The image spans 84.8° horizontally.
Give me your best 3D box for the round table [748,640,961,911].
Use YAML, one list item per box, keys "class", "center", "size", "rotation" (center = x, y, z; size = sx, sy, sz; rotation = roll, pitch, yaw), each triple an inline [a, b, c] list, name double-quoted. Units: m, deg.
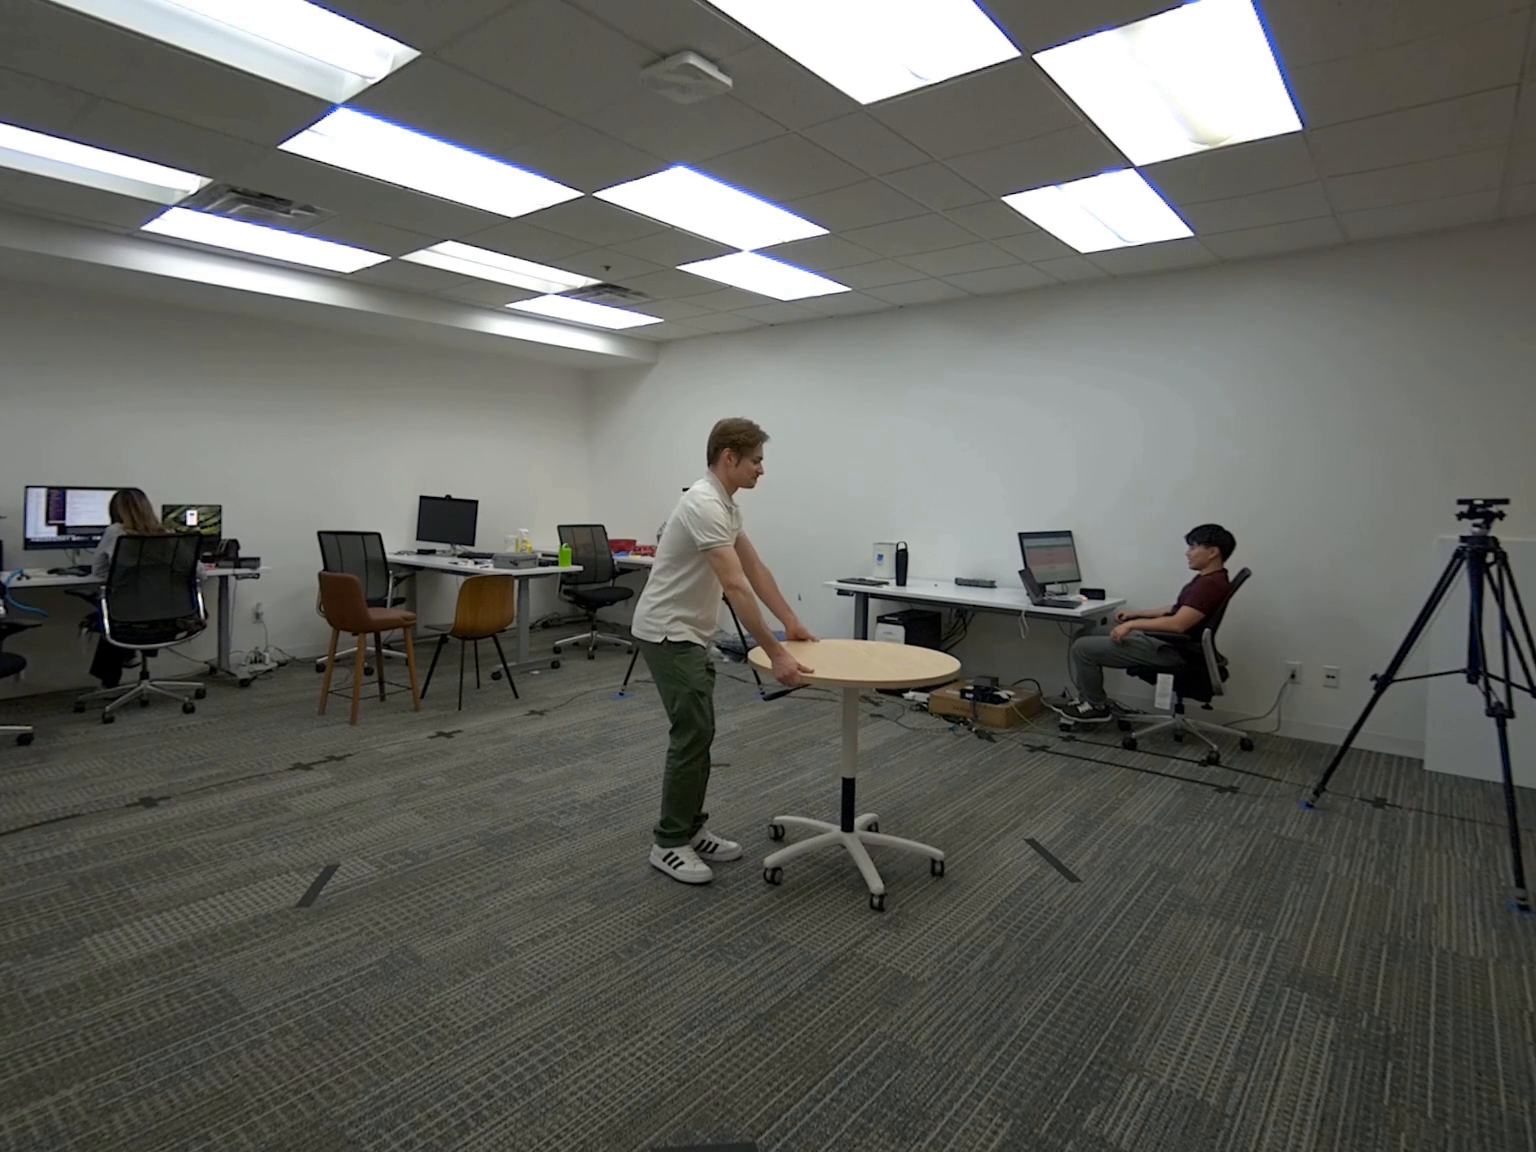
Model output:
- class: "round table"
  center: [0.289, 0.691, 3.133]
  size: [0.763, 0.791, 0.768]
  rotation: [1, 4, -2]
